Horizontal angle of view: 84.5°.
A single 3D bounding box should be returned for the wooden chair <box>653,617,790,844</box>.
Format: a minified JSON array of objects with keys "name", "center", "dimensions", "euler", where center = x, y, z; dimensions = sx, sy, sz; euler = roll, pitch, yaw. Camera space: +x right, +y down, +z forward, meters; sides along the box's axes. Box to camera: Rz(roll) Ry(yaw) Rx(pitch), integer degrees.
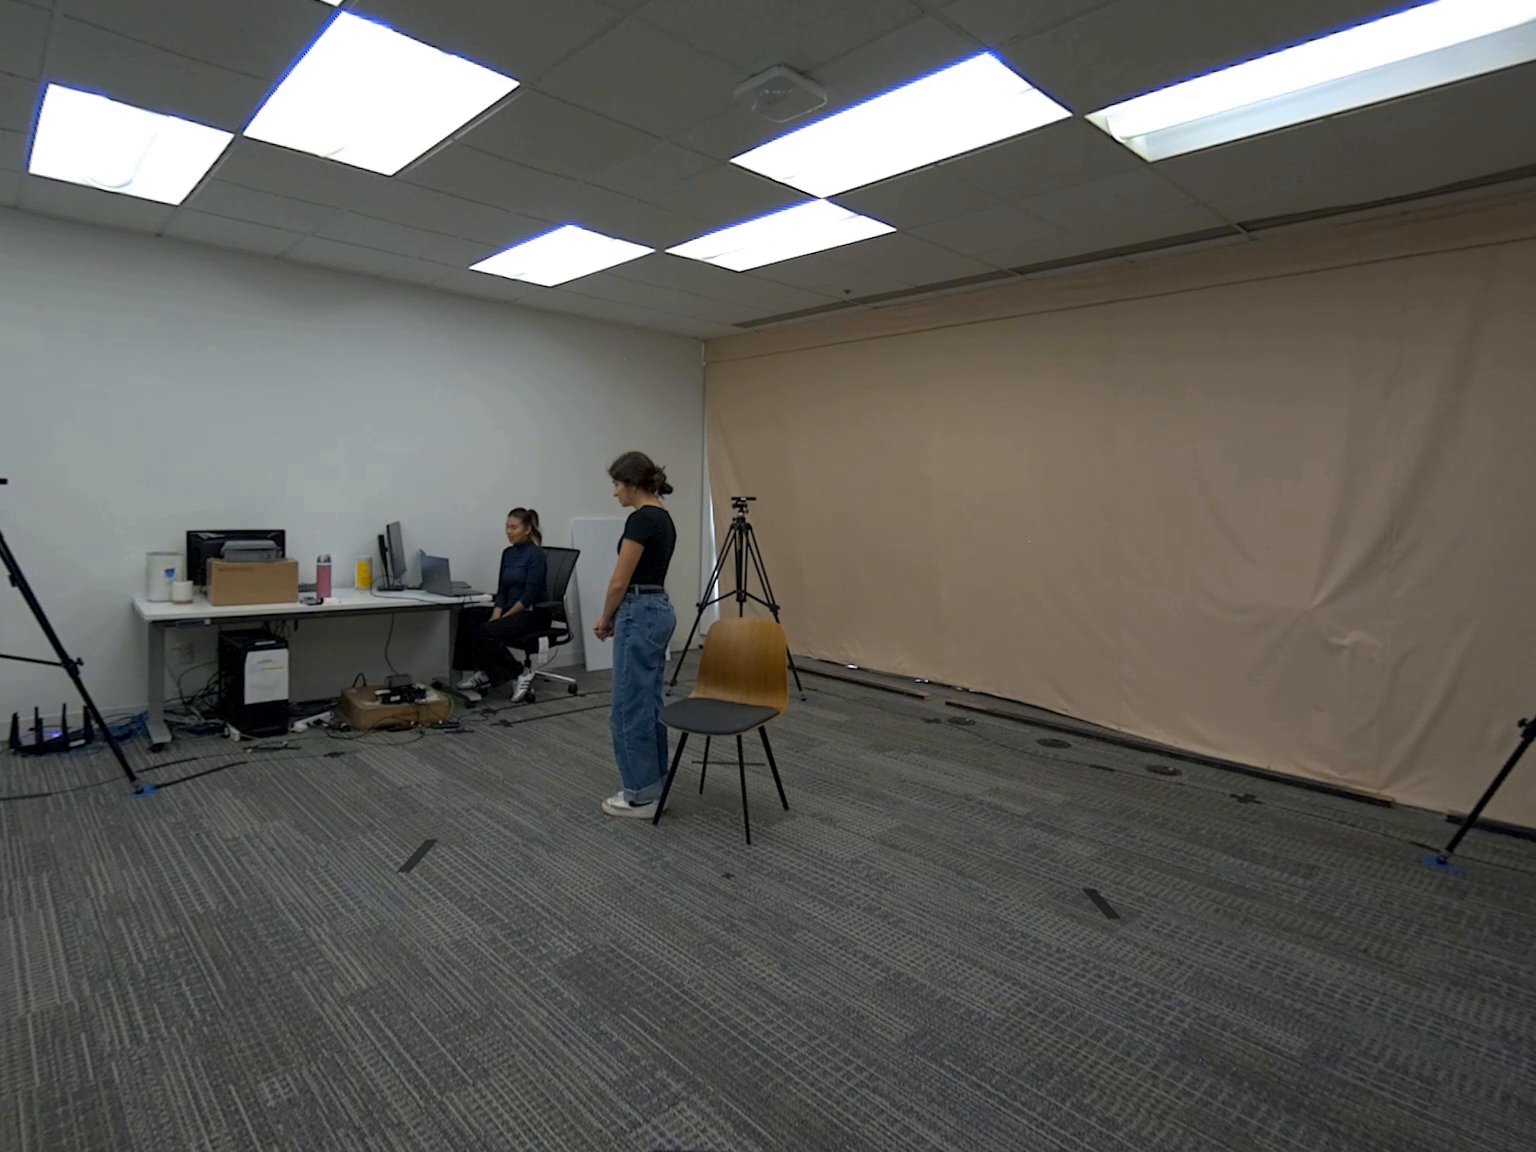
[{"name":"wooden chair","center":[-0.192,0.631,3.648],"dimensions":[0.487,0.878,0.513],"euler":[3,-1,24]}]
